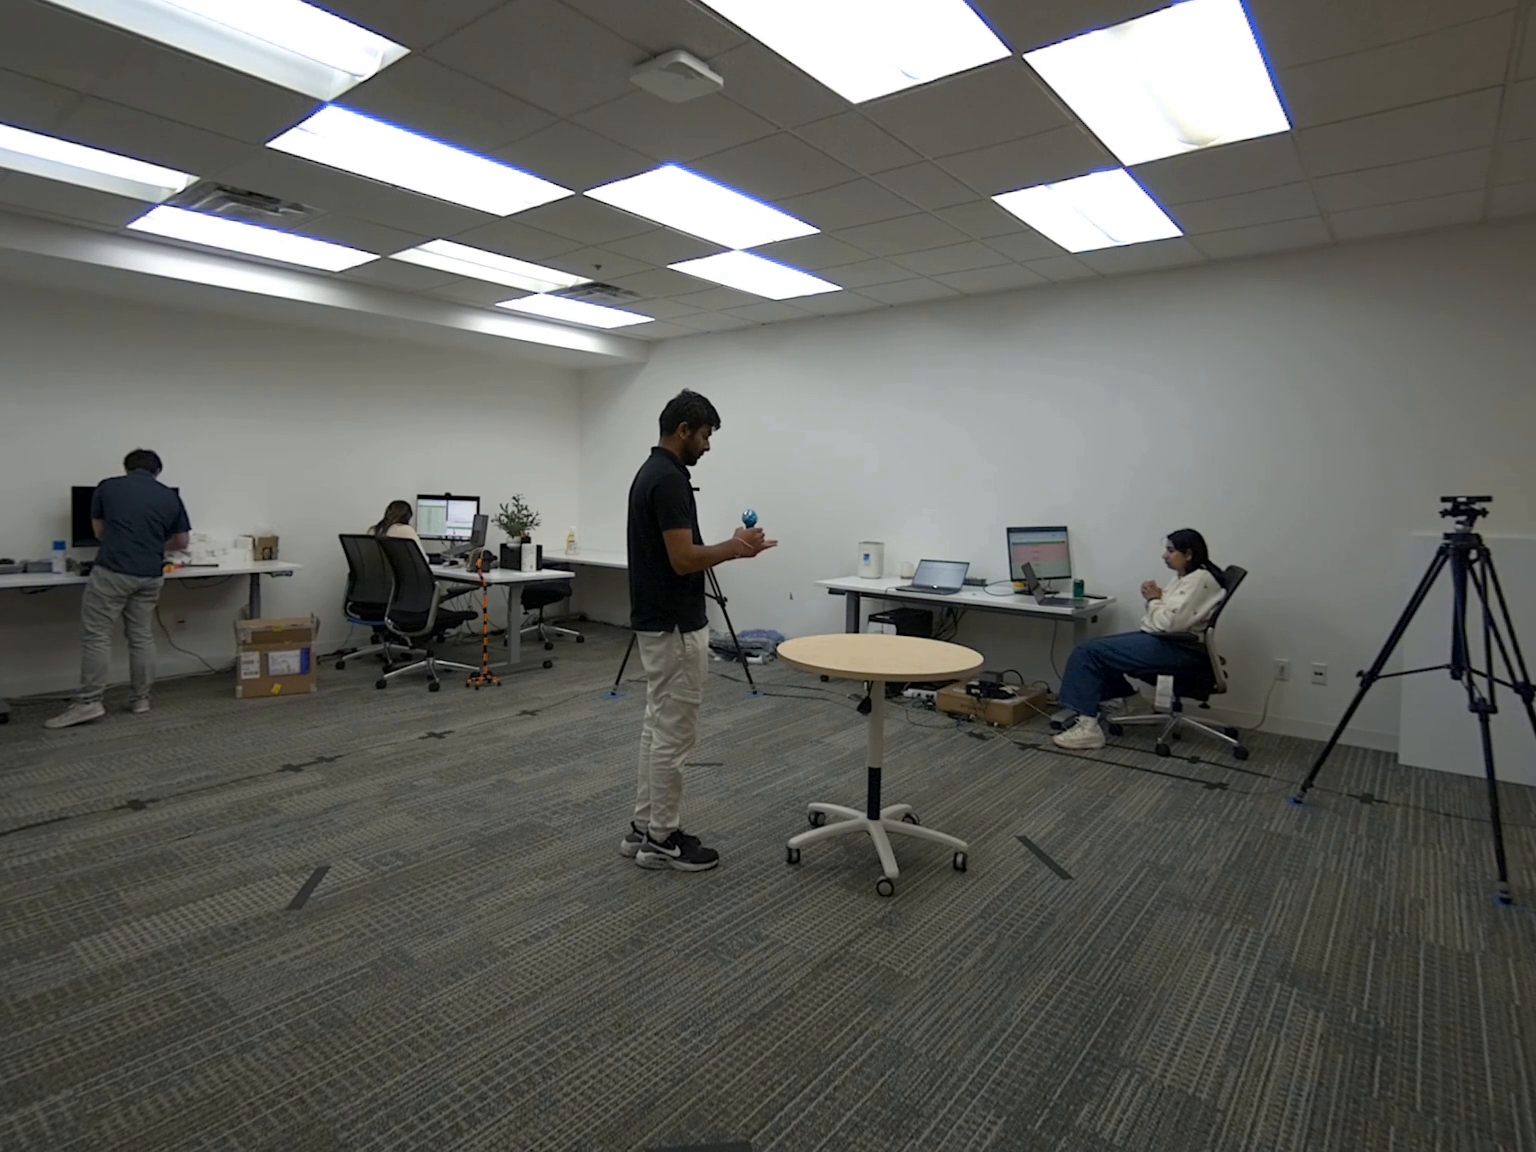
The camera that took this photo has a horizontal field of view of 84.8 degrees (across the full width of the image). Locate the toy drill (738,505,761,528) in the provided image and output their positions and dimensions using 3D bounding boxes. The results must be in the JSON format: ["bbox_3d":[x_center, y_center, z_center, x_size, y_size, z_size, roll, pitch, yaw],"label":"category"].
[{"bbox_3d":[-0.078,-0.188,3.255,0.061,0.144,0.173,3,13,-8],"label":"toy drill"}]
